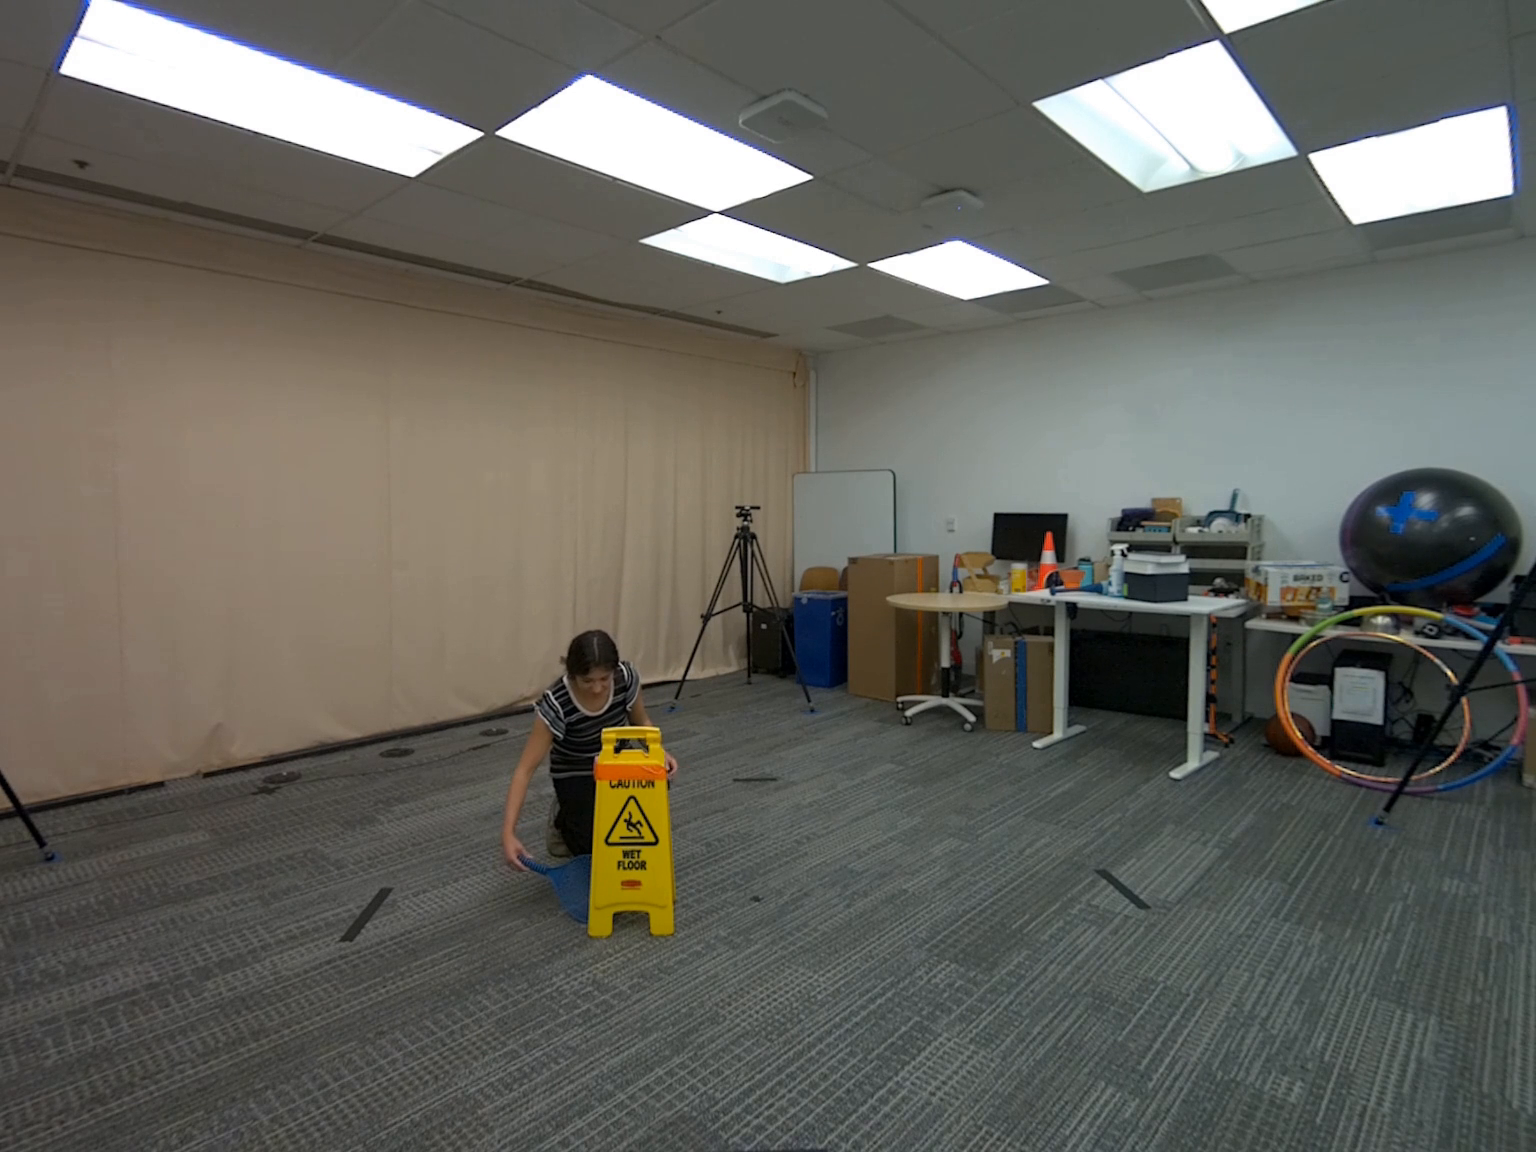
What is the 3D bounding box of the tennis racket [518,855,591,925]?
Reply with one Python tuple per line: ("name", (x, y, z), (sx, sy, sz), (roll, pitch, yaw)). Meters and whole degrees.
("tennis racket", (-0.669, 1.023, 2.875), (0.440, 0.214, 0.031), (21, -14, 14))
